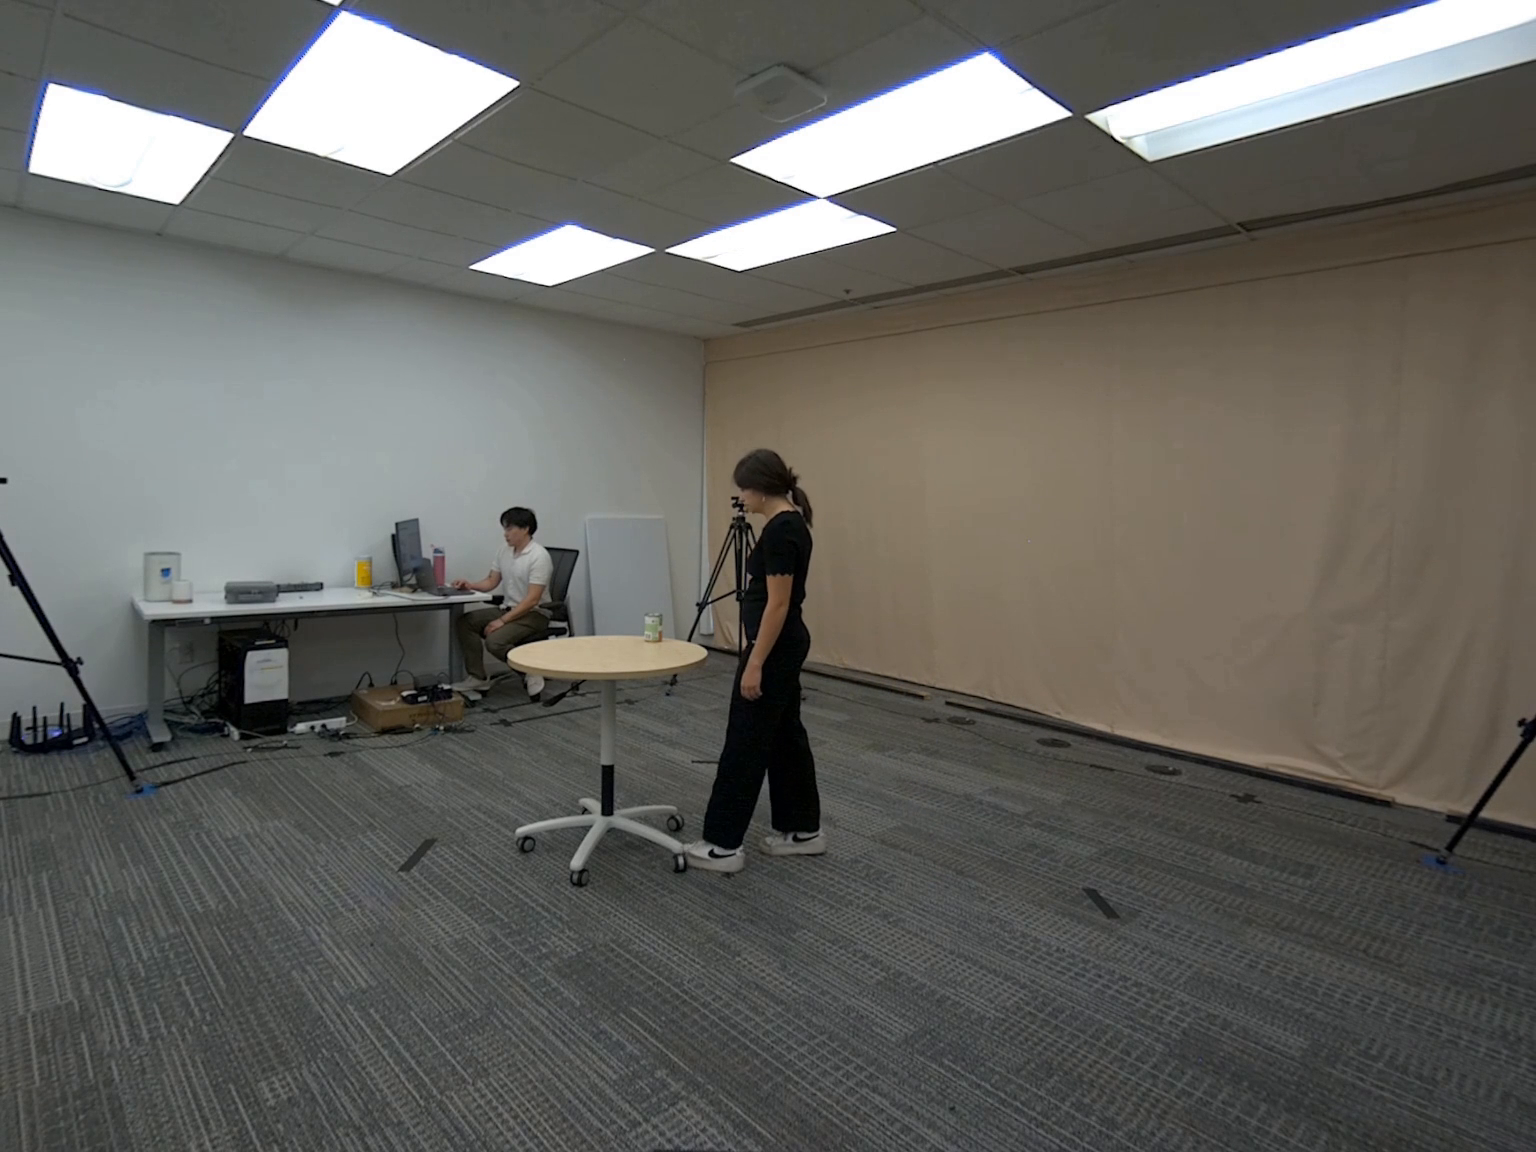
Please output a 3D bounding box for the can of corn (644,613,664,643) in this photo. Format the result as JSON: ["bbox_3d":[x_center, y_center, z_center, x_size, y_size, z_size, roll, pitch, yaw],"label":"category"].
[{"bbox_3d":[-0.488,0.217,3.522,0.074,0.111,0.074,0,0,-1],"label":"can of corn"}]
